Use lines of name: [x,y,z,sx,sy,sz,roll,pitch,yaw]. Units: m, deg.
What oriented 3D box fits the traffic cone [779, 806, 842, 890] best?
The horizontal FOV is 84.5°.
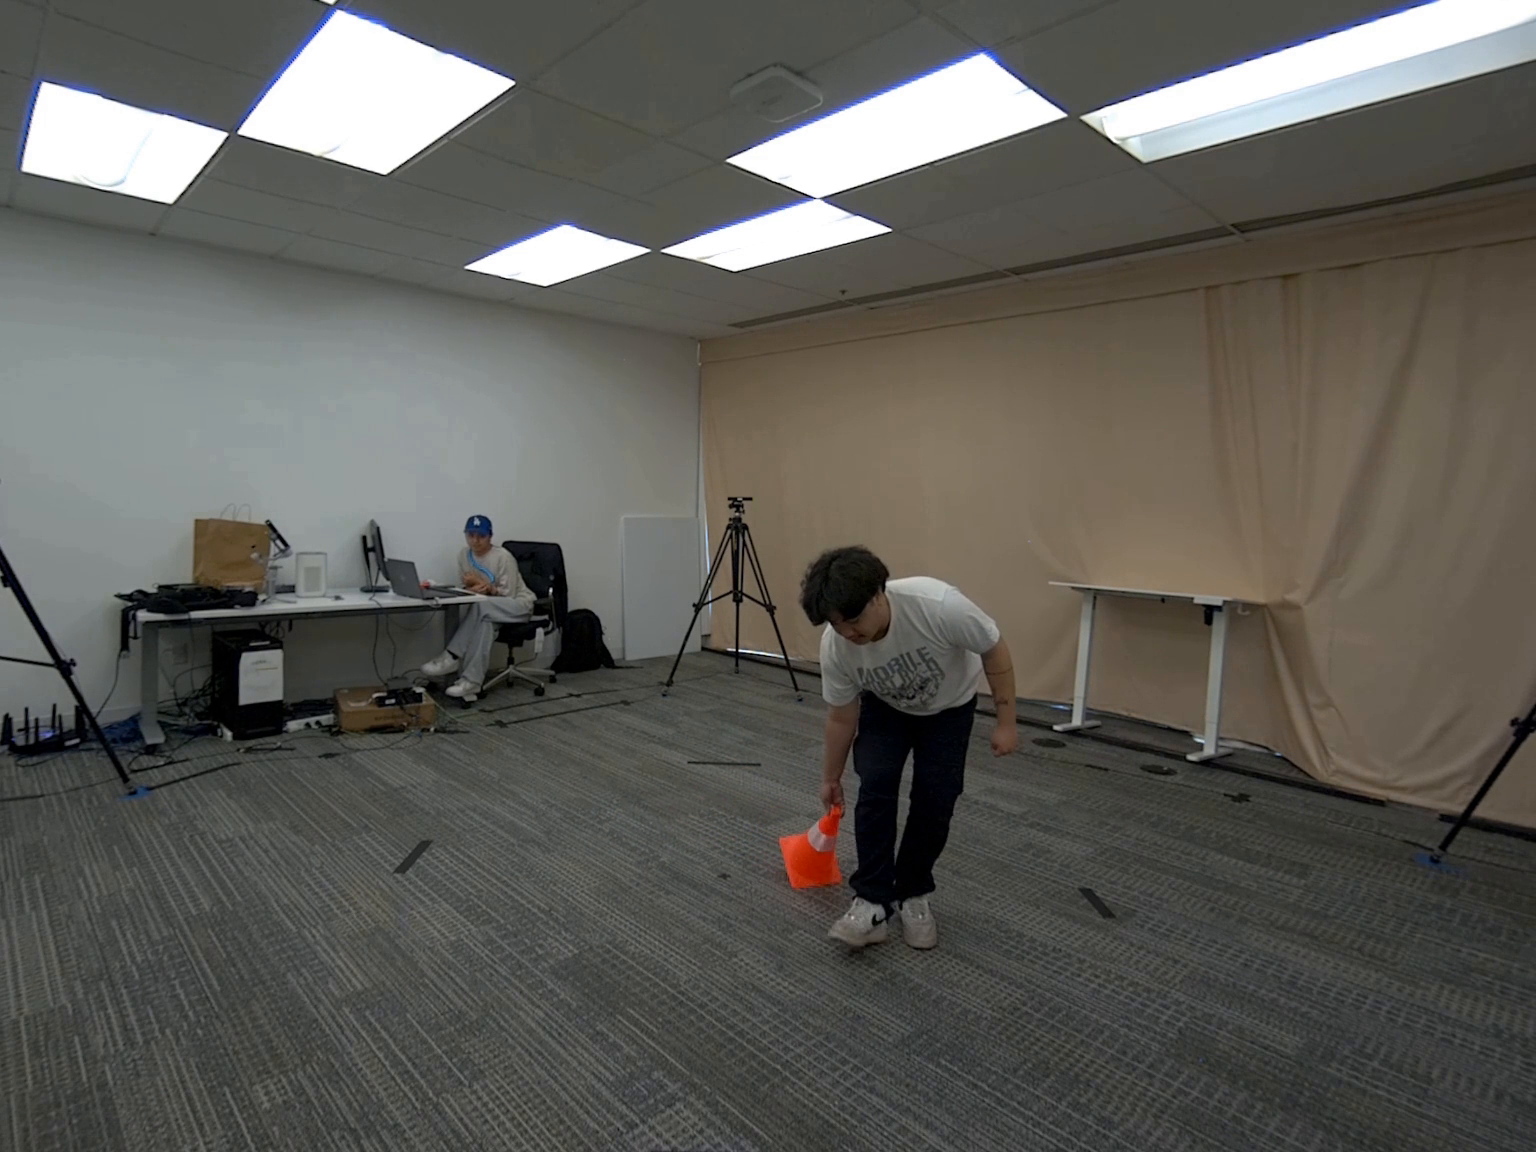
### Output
traffic cone: [0.188,0.923,2.977,0.202,0.377,0.209,-4,47,-18]
